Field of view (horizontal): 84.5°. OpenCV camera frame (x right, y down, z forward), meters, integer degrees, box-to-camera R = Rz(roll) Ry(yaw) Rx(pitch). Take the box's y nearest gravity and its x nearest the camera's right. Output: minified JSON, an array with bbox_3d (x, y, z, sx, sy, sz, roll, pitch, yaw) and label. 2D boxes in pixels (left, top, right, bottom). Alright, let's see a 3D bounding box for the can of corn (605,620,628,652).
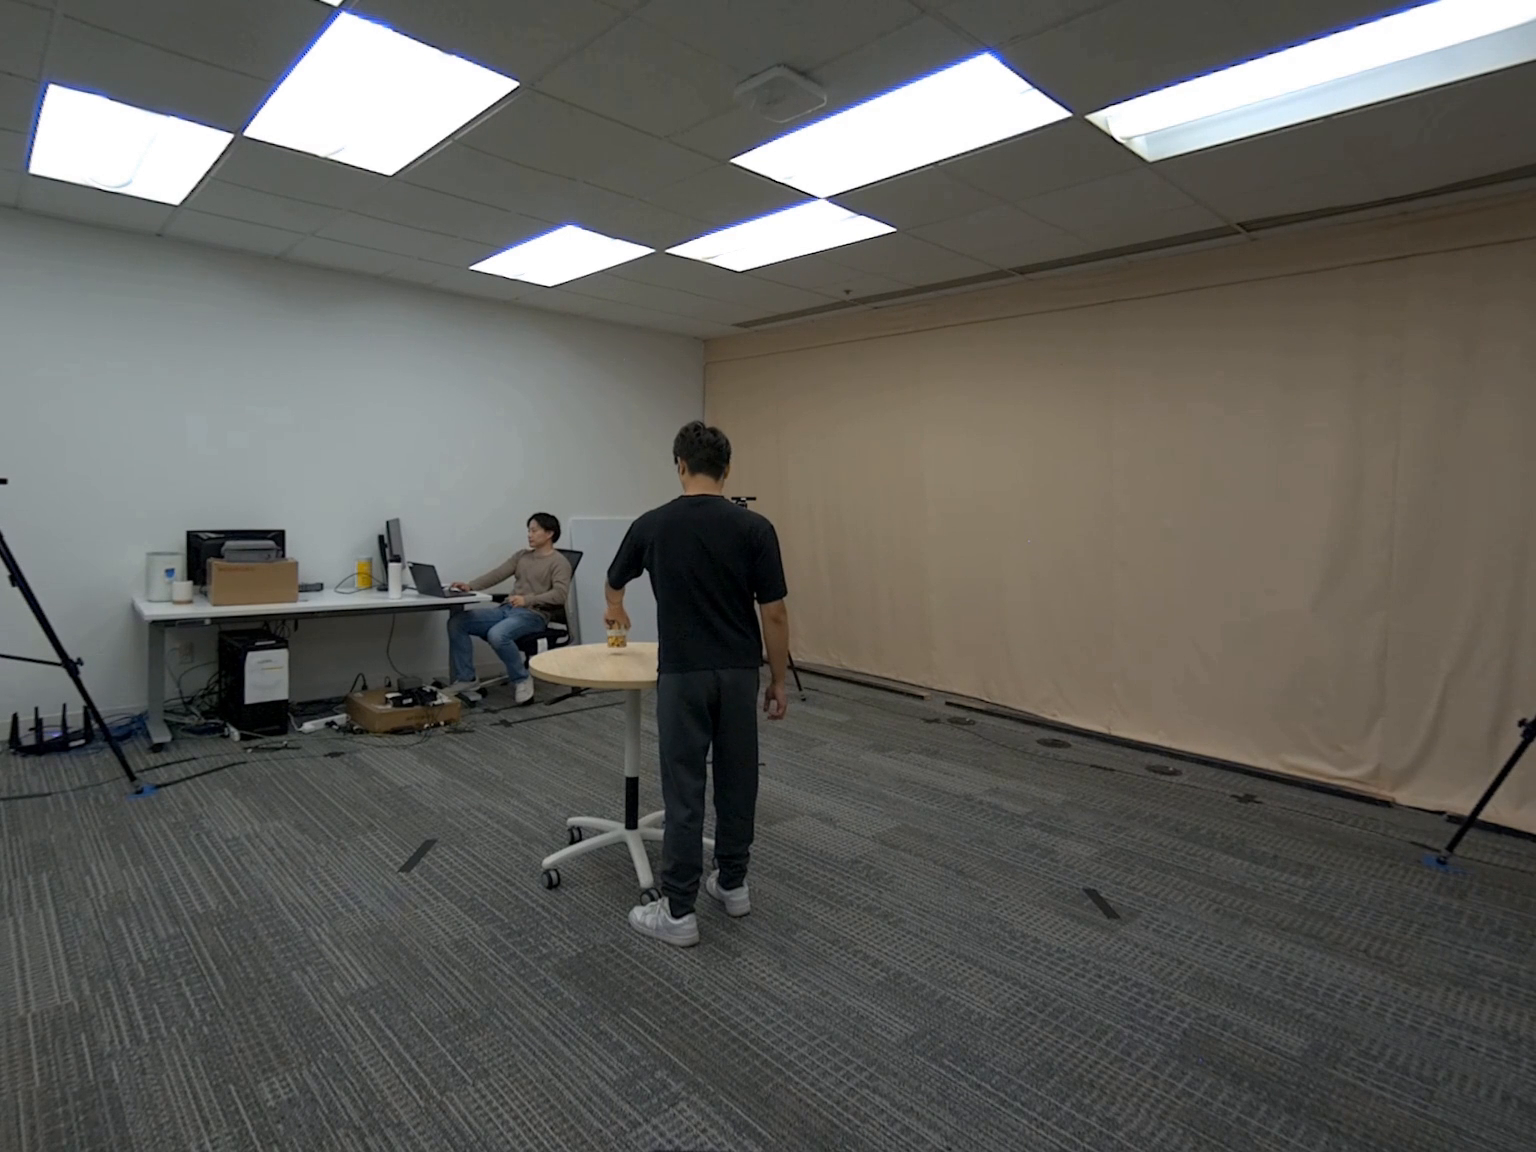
[{"bbox_3d":[-0.591,0.217,3.240,0.074,0.111,0.074,-2,3,-1],"label":"can of corn"}]
